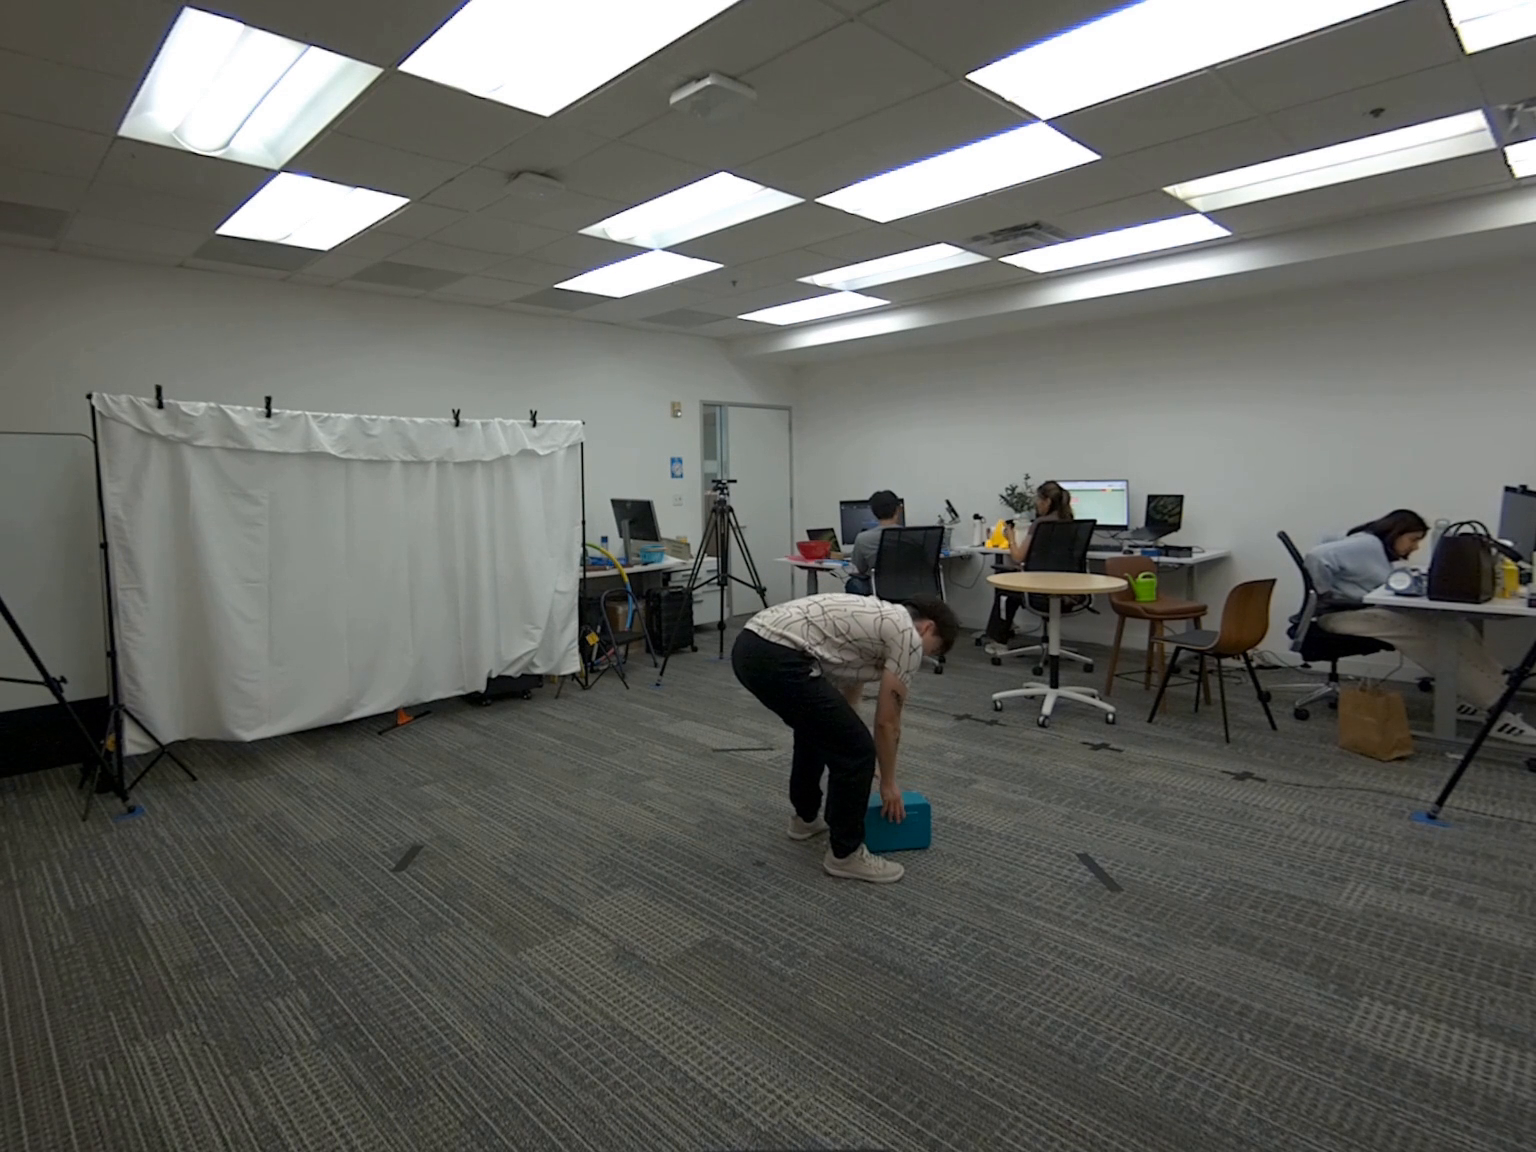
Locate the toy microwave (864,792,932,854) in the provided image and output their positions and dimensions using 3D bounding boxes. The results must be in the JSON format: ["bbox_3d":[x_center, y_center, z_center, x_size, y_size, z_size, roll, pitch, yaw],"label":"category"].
[{"bbox_3d":[0.470,0.932,3.245,0.284,0.183,0.154,-2,4,-8],"label":"toy microwave"}]
